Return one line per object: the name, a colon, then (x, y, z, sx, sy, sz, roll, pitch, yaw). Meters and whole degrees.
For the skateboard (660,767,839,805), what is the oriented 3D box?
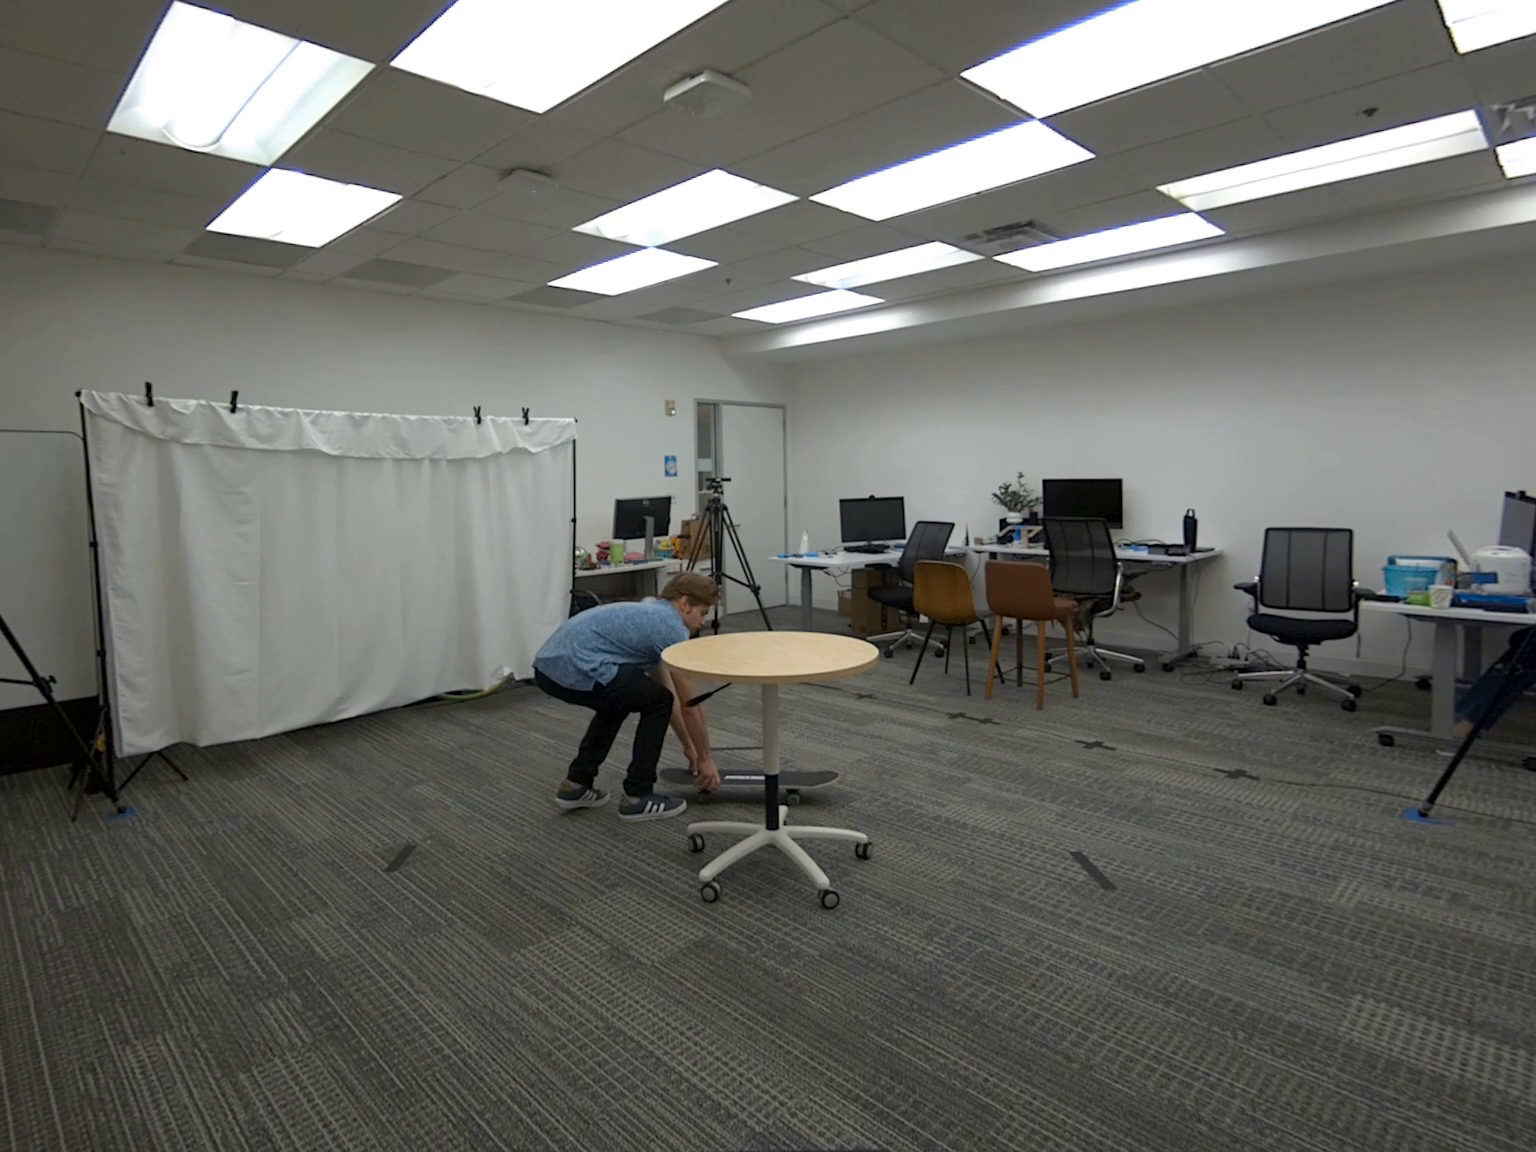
skateboard: (-0.085, 0.910, 3.731, 0.791, 0.110, 0.193, -1, 6, 8)
